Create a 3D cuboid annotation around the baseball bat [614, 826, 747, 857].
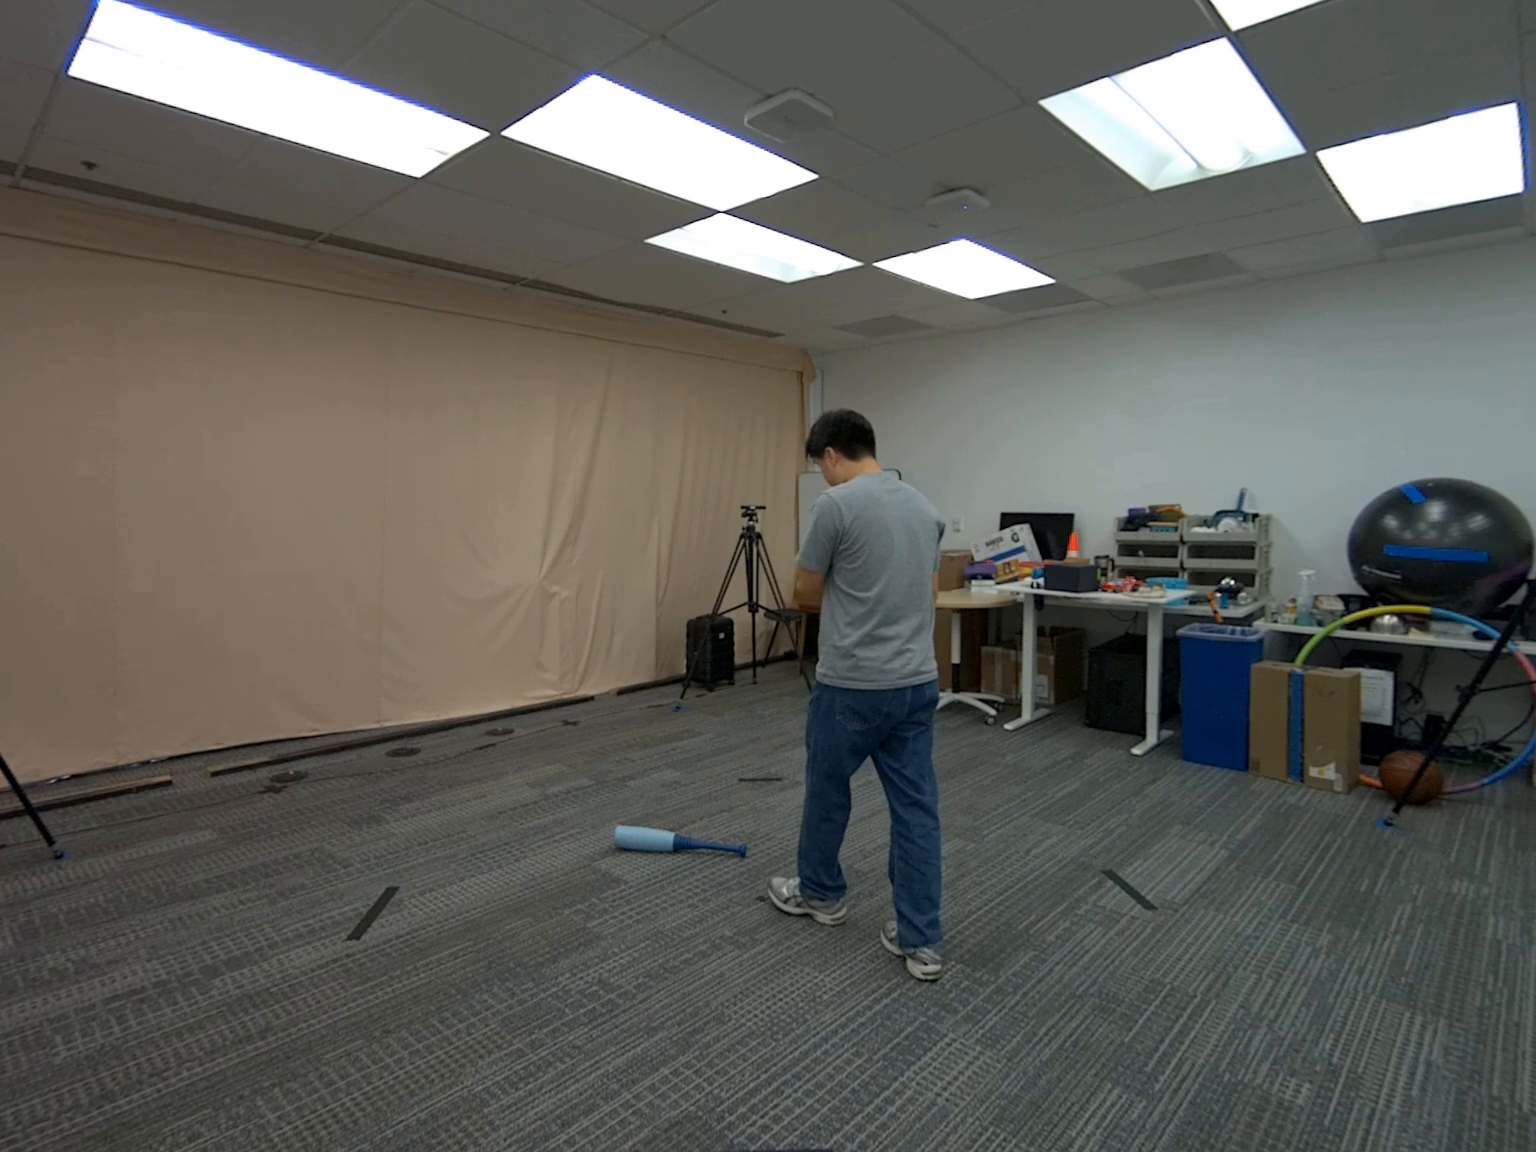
[{"bbox_3d":[-0.354,1.076,3.387,0.548,0.089,0.088,3,4,9],"label":"baseball bat"}]
